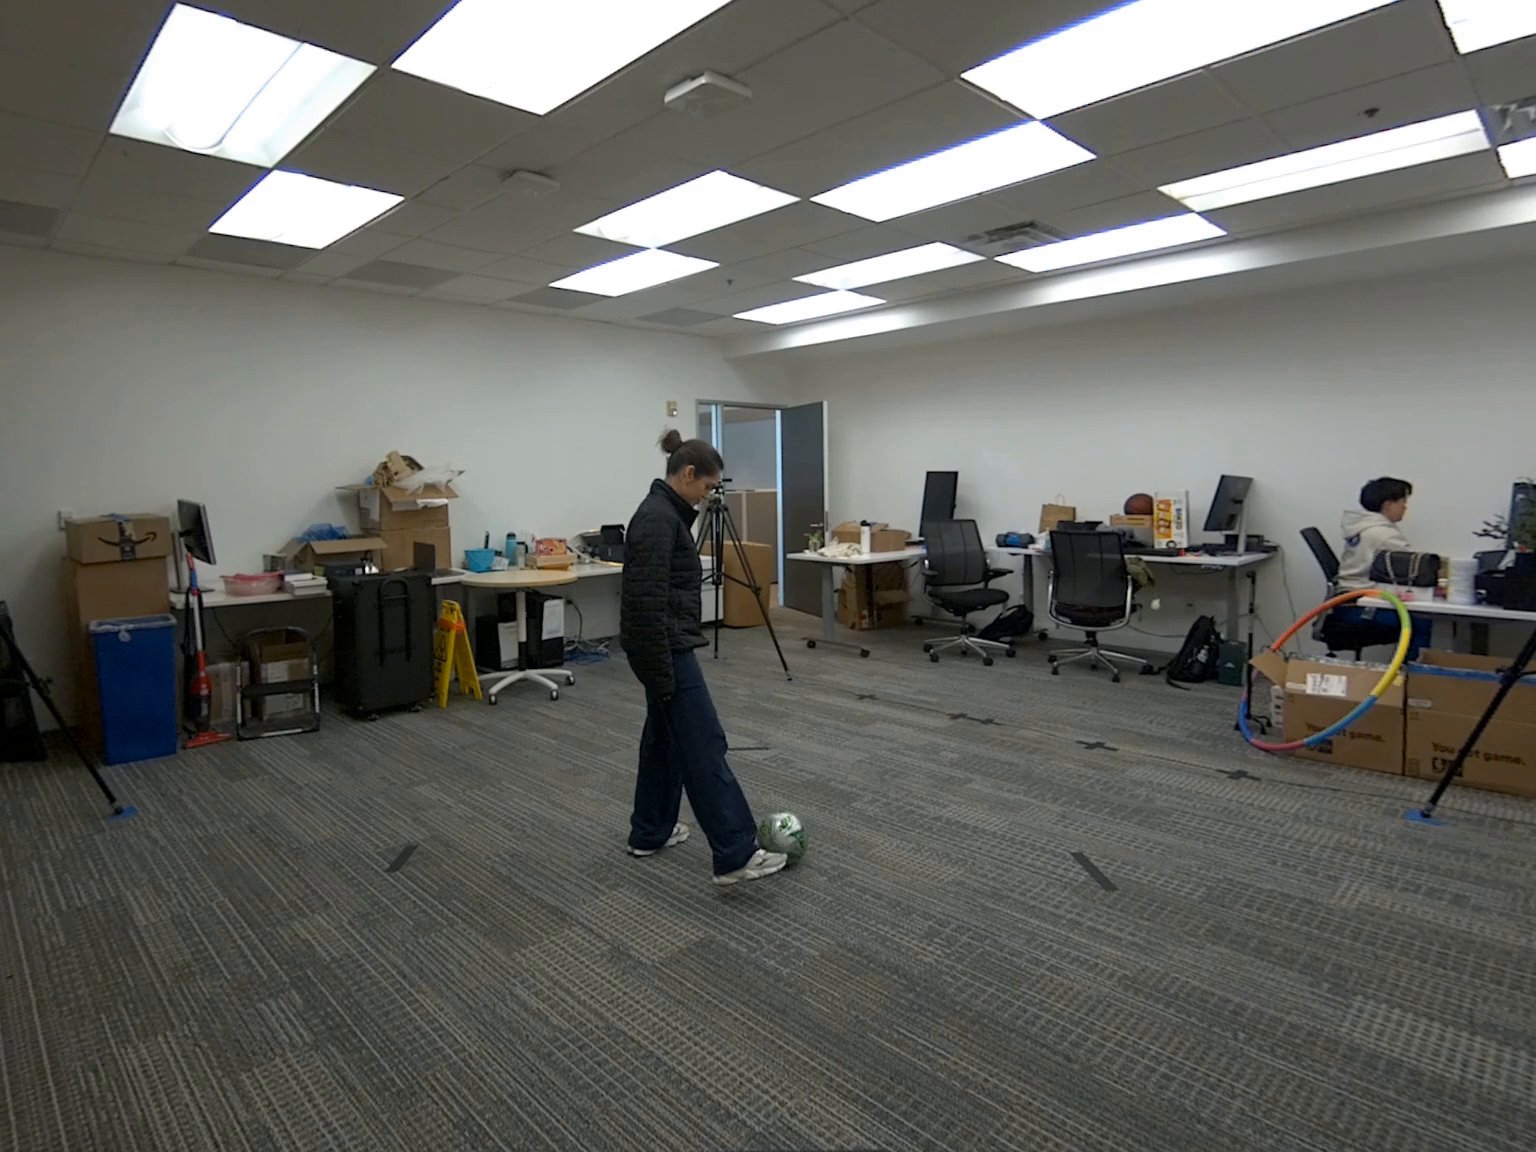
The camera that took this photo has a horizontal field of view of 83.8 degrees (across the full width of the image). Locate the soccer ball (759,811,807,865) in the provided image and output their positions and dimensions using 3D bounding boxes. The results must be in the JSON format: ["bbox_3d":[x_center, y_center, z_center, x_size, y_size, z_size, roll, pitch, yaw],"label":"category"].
[{"bbox_3d":[0.058,0.946,3.099,0.187,0.187,0.188,-1,5,-2],"label":"soccer ball"}]
